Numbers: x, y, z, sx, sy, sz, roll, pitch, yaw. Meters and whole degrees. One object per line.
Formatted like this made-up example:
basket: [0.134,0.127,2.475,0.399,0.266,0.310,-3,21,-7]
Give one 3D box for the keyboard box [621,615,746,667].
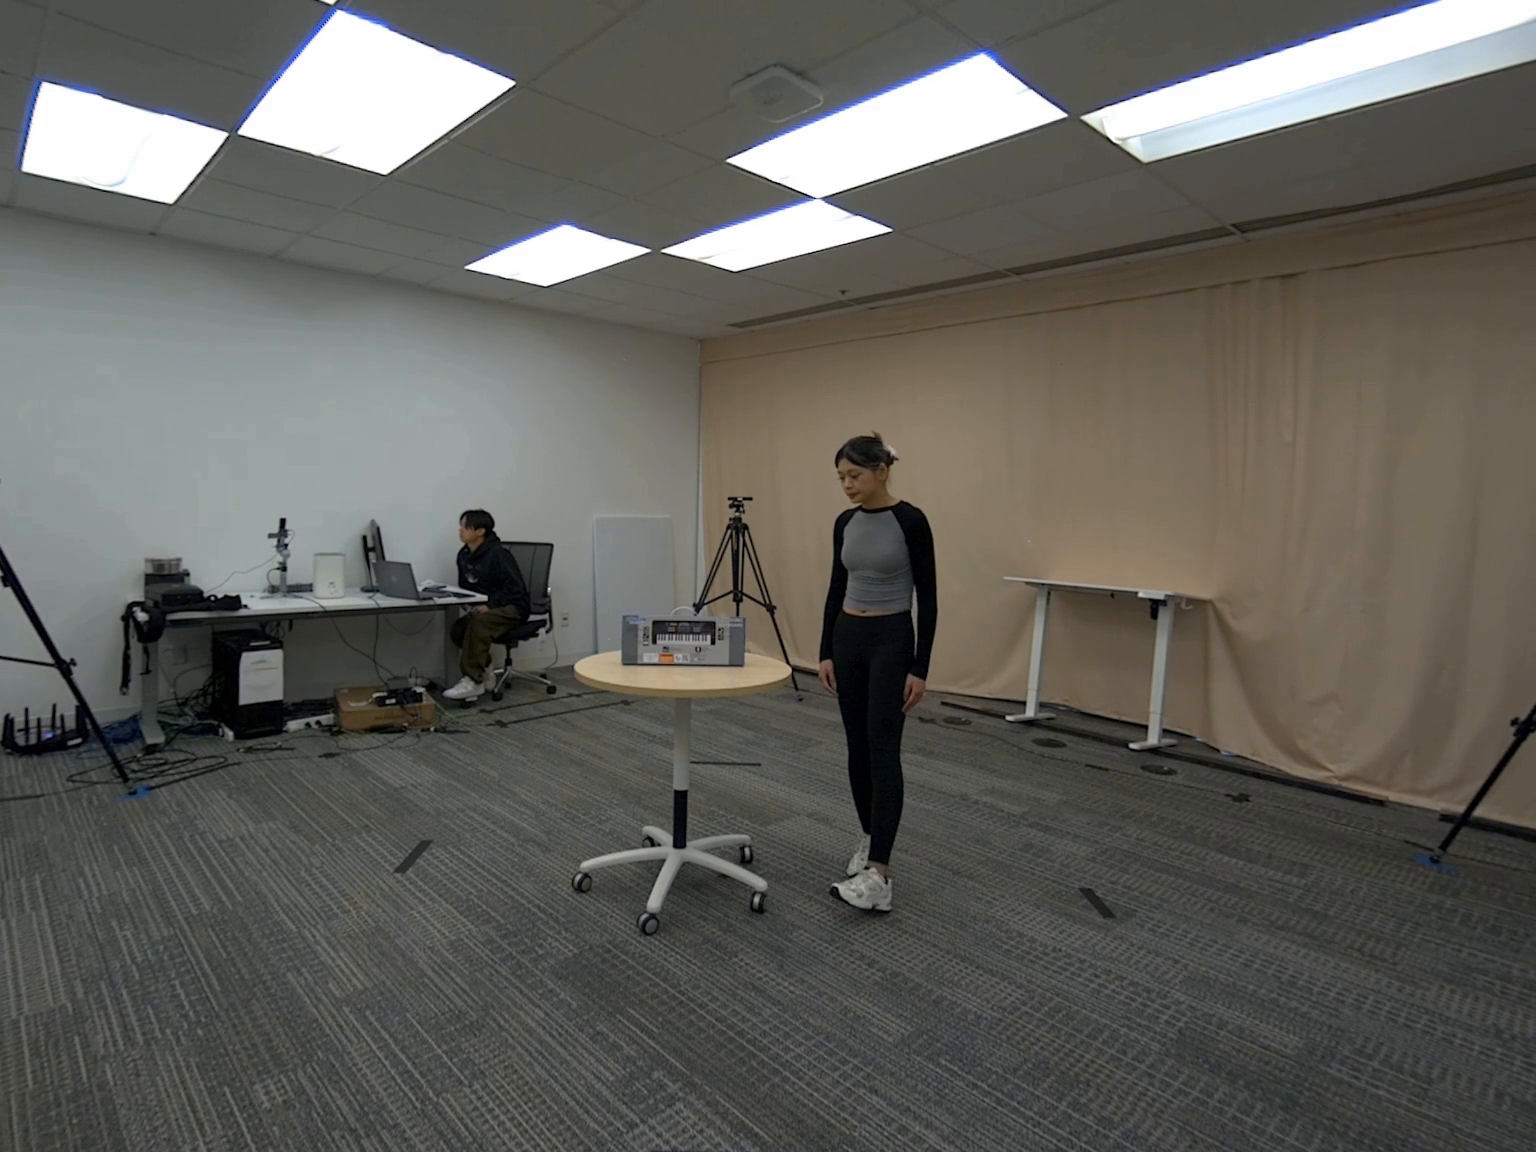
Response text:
keyboard box: [-0.306,0.230,3.011,0.435,0.176,0.059,2,0,-4]
